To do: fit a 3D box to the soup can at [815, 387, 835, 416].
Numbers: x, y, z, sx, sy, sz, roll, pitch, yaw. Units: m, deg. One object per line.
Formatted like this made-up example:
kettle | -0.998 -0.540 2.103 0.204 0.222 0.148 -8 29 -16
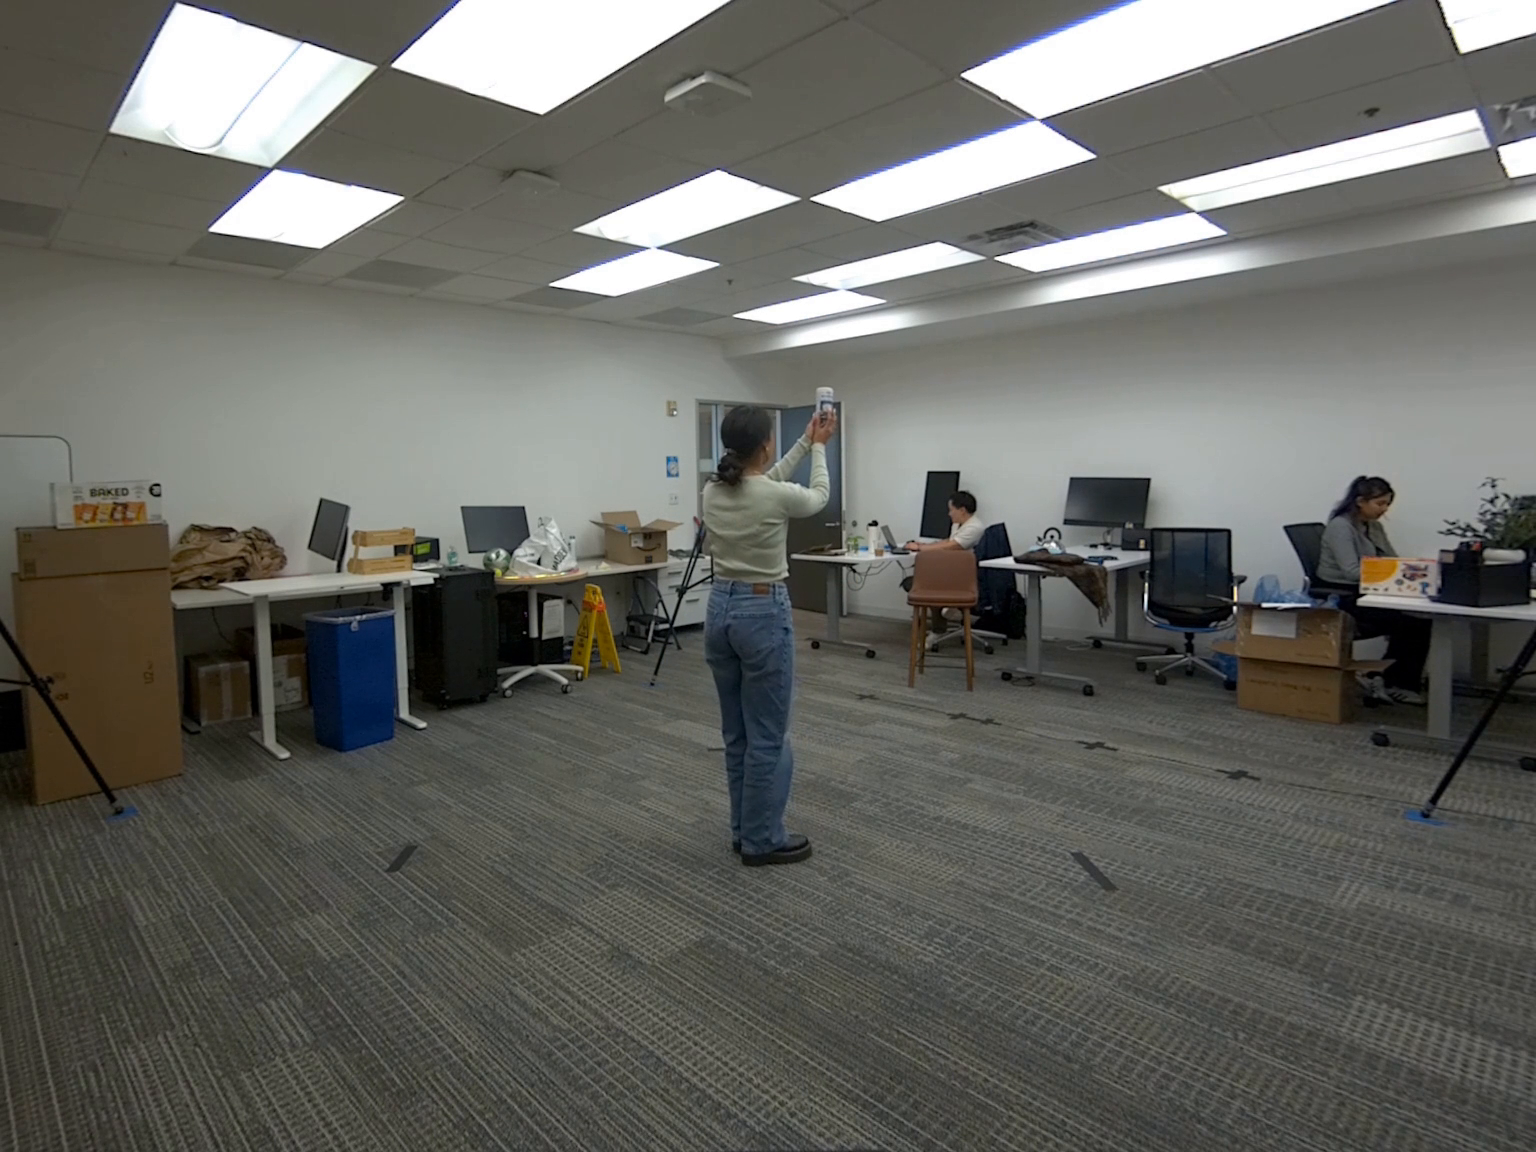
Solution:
soup can | 0.218 -0.679 3.373 0.067 0.122 0.067 2 -1 -2
